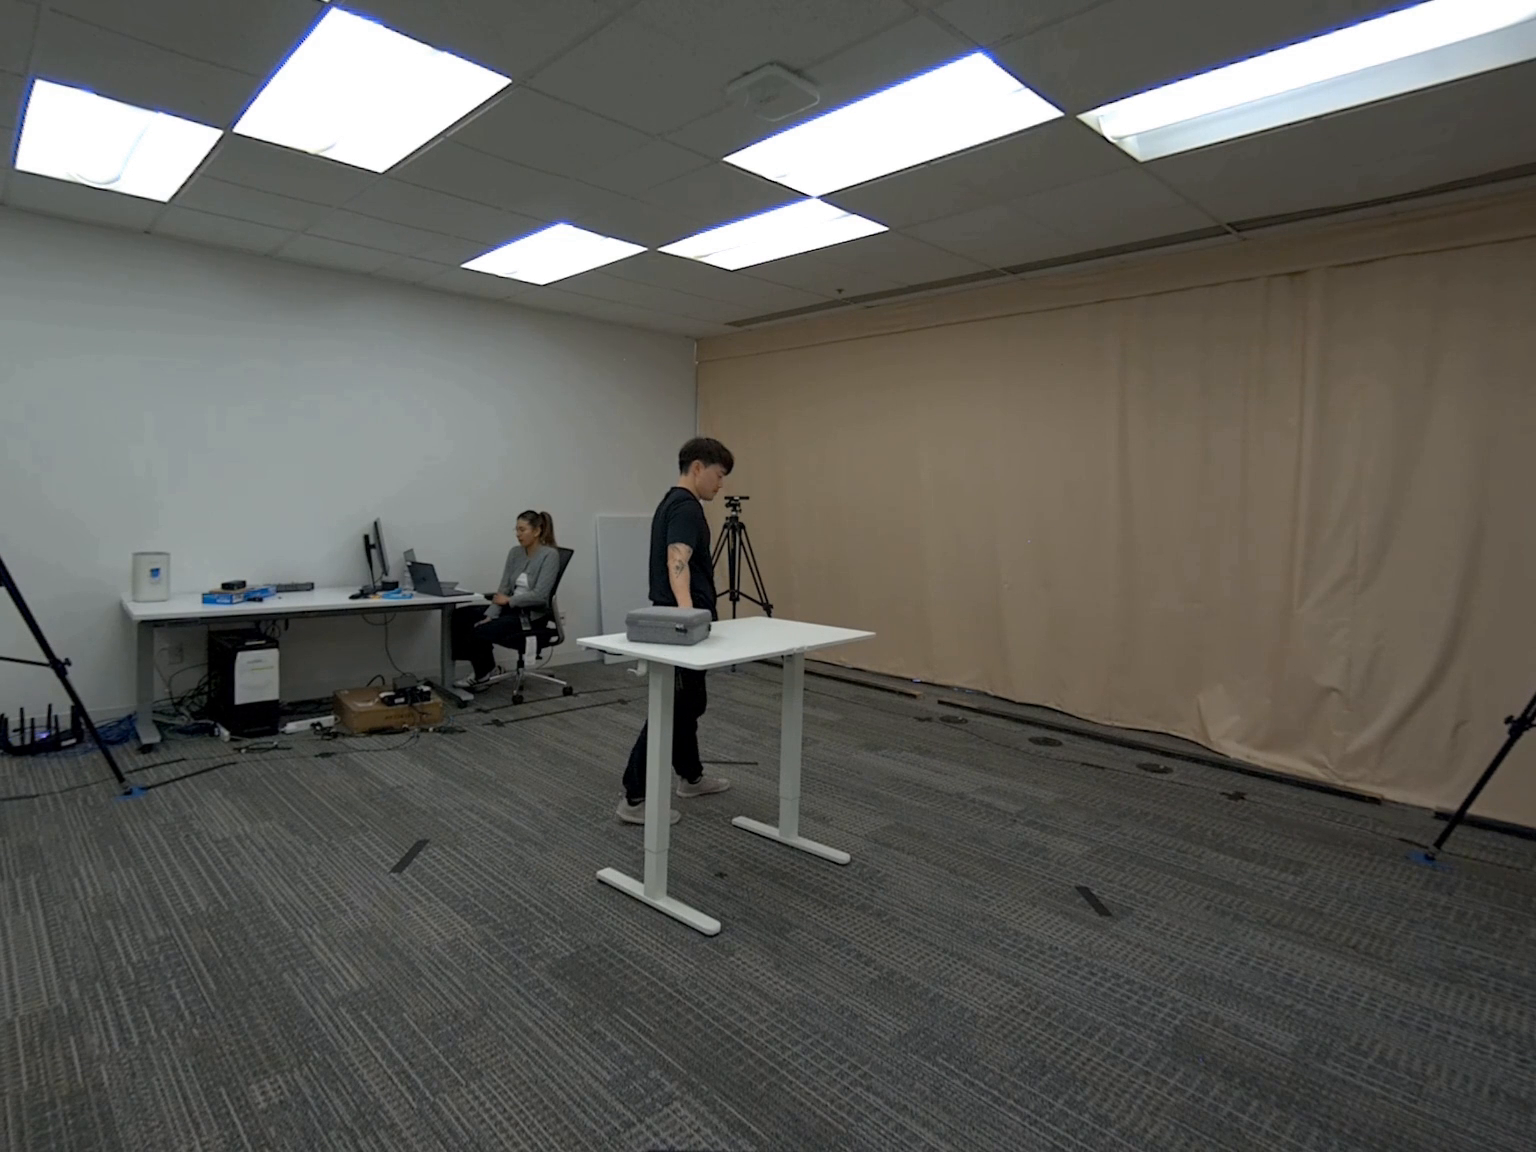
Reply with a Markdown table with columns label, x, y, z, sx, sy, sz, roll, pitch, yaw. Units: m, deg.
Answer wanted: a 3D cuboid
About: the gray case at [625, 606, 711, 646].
| label | x | y | z | sx | sy | sz | roll | pitch | yaw |
| --- | --- | --- | --- | --- | --- | --- | --- | --- | --- |
| gray case | -0.365 | 0.174 | 2.993 | 0.260 | 0.104 | 0.258 | 2 | 3 | 14 |
